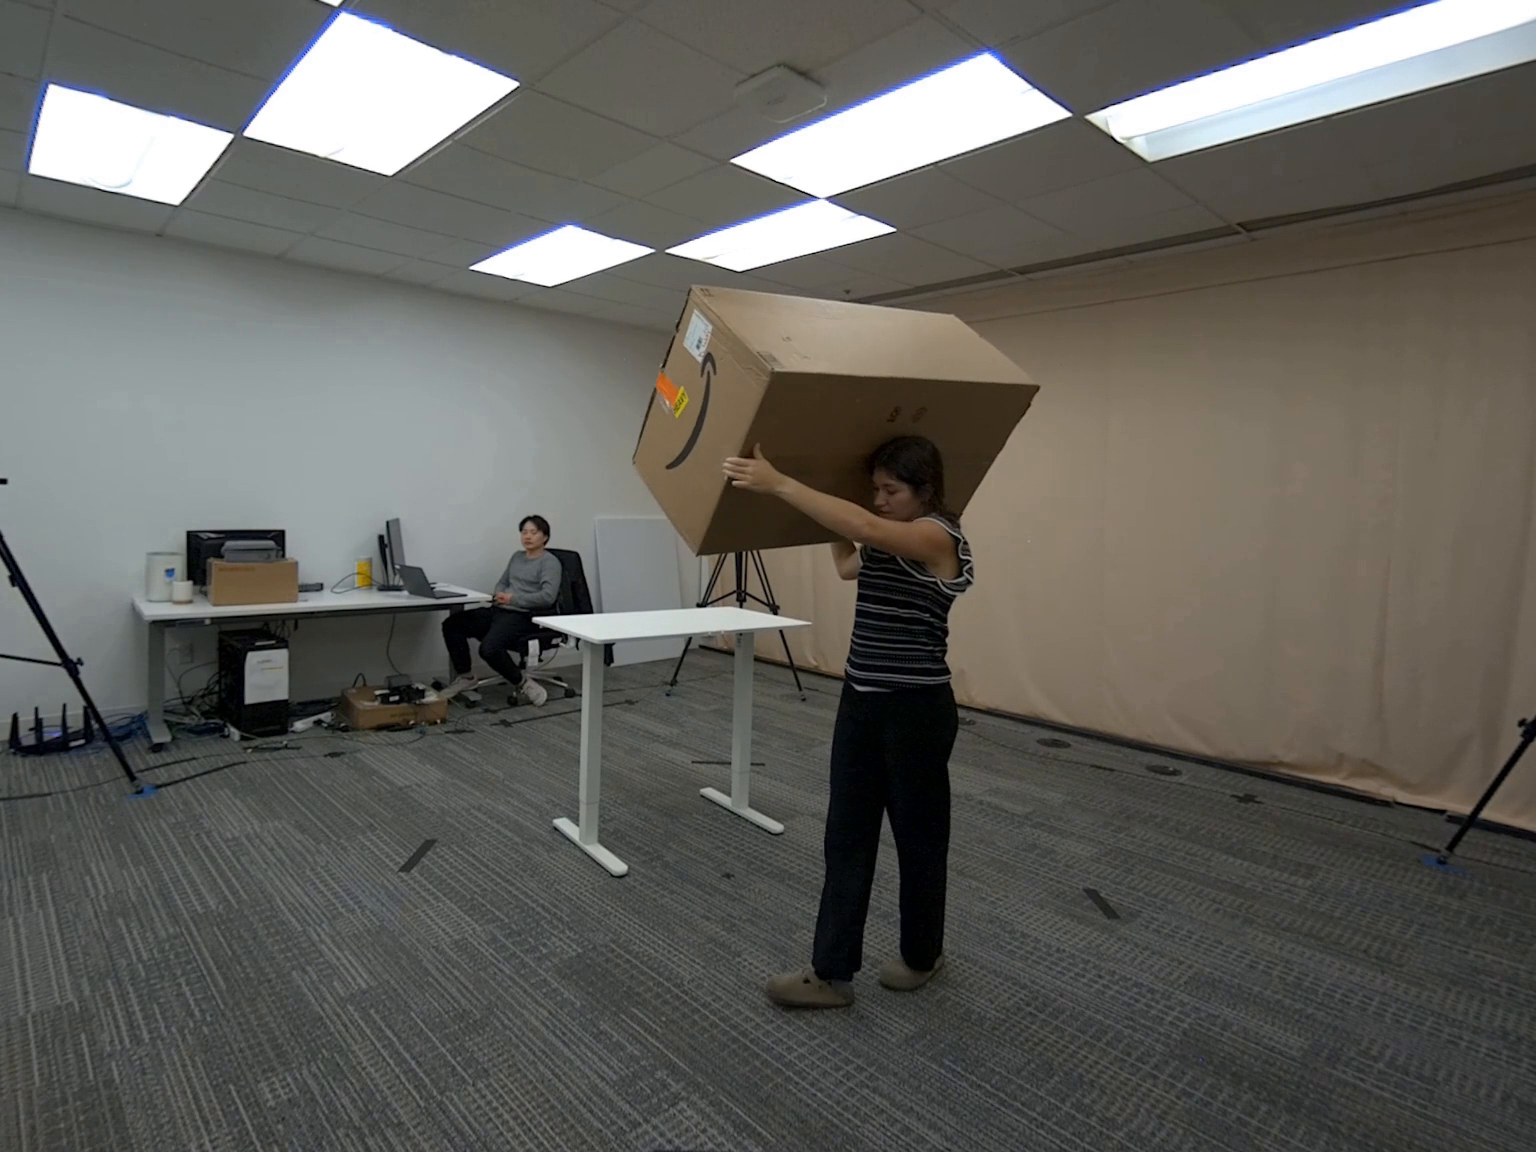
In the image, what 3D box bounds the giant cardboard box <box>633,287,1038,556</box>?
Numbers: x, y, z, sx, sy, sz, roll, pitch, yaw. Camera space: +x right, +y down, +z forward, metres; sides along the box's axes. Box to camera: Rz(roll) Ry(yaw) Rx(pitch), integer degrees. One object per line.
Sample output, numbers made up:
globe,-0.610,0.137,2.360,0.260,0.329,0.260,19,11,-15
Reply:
giant cardboard box,0.197,-0.450,2.494,1.005,0.571,0.439,-7,45,-36
